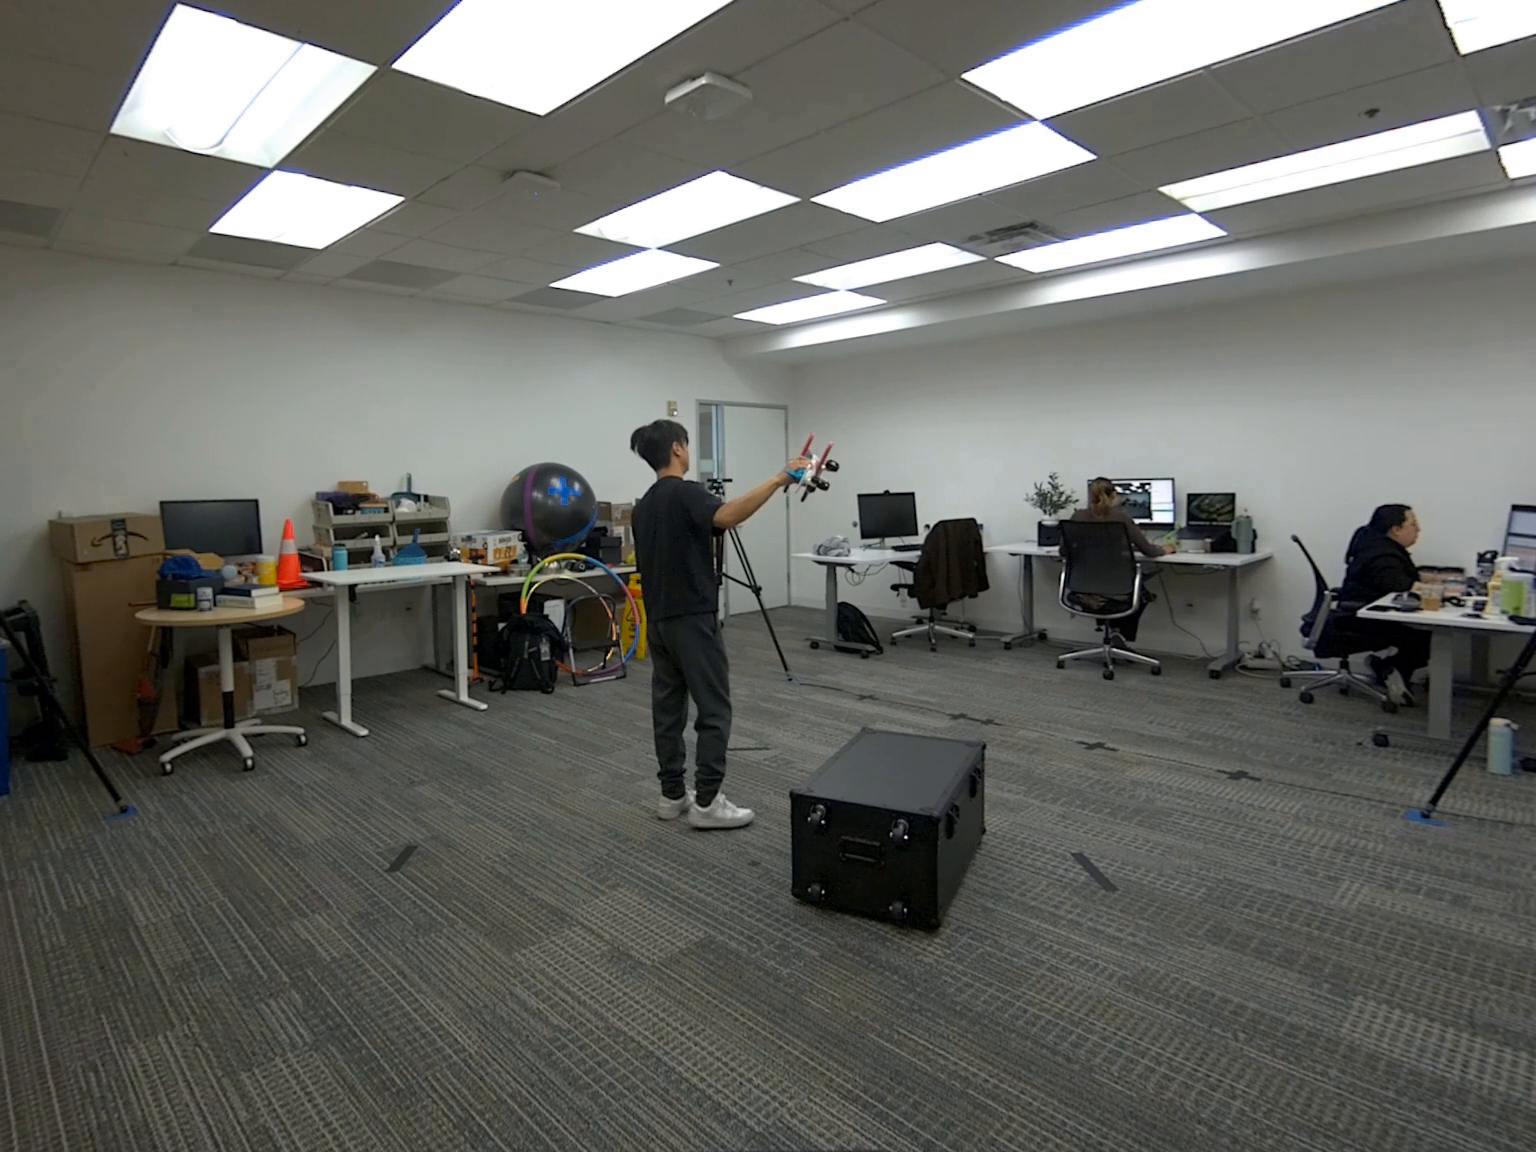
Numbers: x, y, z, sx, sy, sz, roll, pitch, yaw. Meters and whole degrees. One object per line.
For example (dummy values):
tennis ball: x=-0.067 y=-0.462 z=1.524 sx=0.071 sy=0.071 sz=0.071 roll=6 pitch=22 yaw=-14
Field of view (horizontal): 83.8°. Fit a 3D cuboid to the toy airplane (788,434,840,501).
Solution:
toy airplane: x=0.171 y=-0.409 z=3.217 sx=0.159 sy=0.251 sz=0.254 roll=32 pitch=-2 yaw=14
